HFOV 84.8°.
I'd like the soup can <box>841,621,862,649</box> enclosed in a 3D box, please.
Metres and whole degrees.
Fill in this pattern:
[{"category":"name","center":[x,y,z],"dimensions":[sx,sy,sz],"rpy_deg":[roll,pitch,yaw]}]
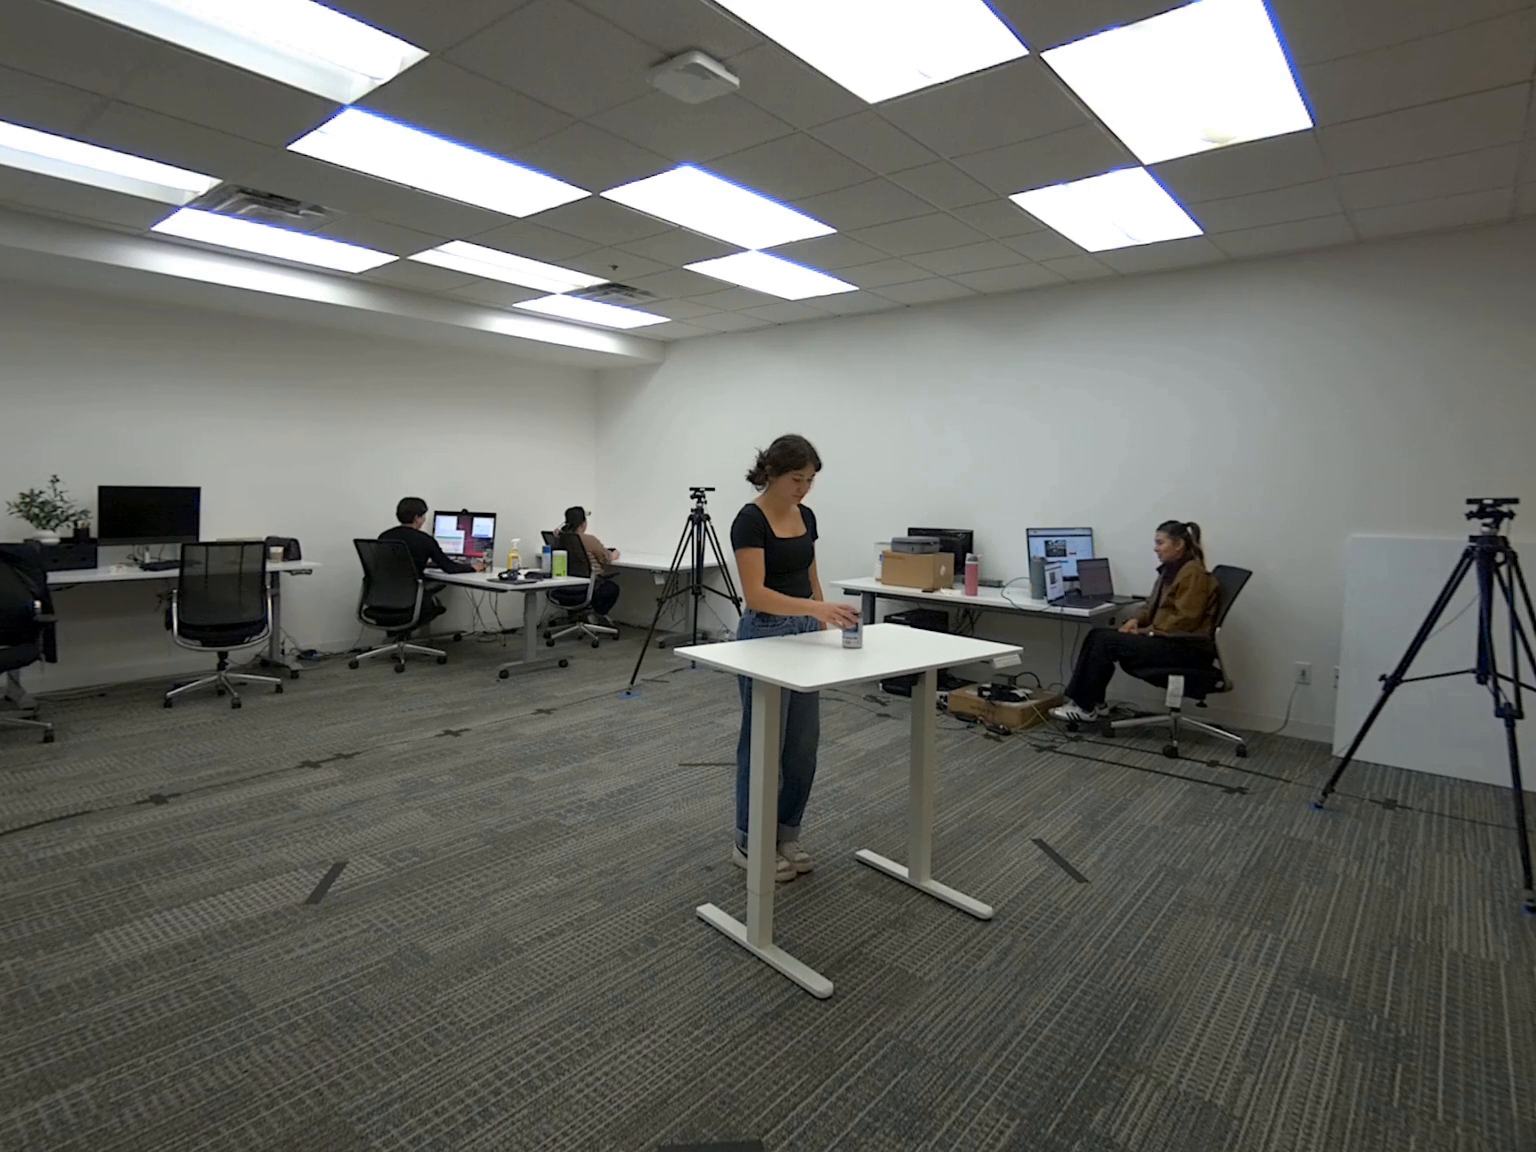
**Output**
[{"category":"soup can","center":[0.269,0.170,2.770],"dimensions":[0.067,0.122,0.067],"rpy_deg":[5,-2,-2]}]
